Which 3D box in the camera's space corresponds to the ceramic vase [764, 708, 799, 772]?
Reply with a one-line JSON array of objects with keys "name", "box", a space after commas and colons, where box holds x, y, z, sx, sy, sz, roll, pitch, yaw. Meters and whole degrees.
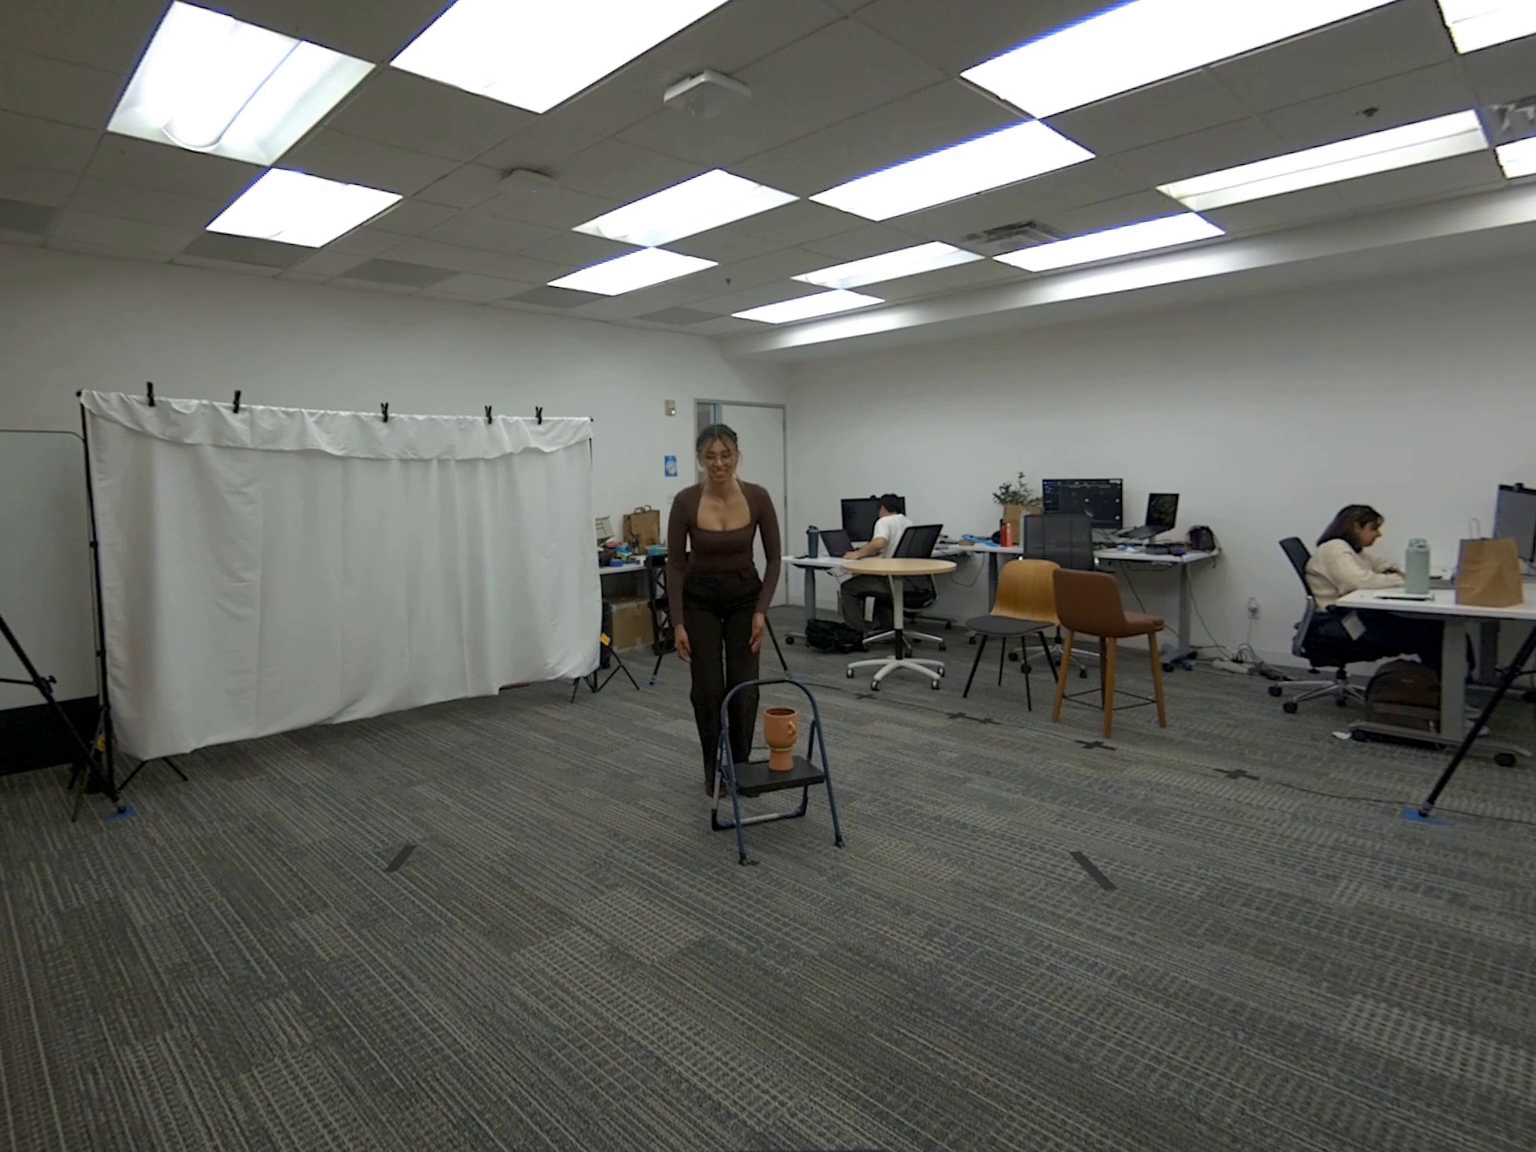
[{"name": "ceramic vase", "box": [0.053, 0.637, 3.347, 0.136, 0.219, 0.158, 1, 6, 7]}]
